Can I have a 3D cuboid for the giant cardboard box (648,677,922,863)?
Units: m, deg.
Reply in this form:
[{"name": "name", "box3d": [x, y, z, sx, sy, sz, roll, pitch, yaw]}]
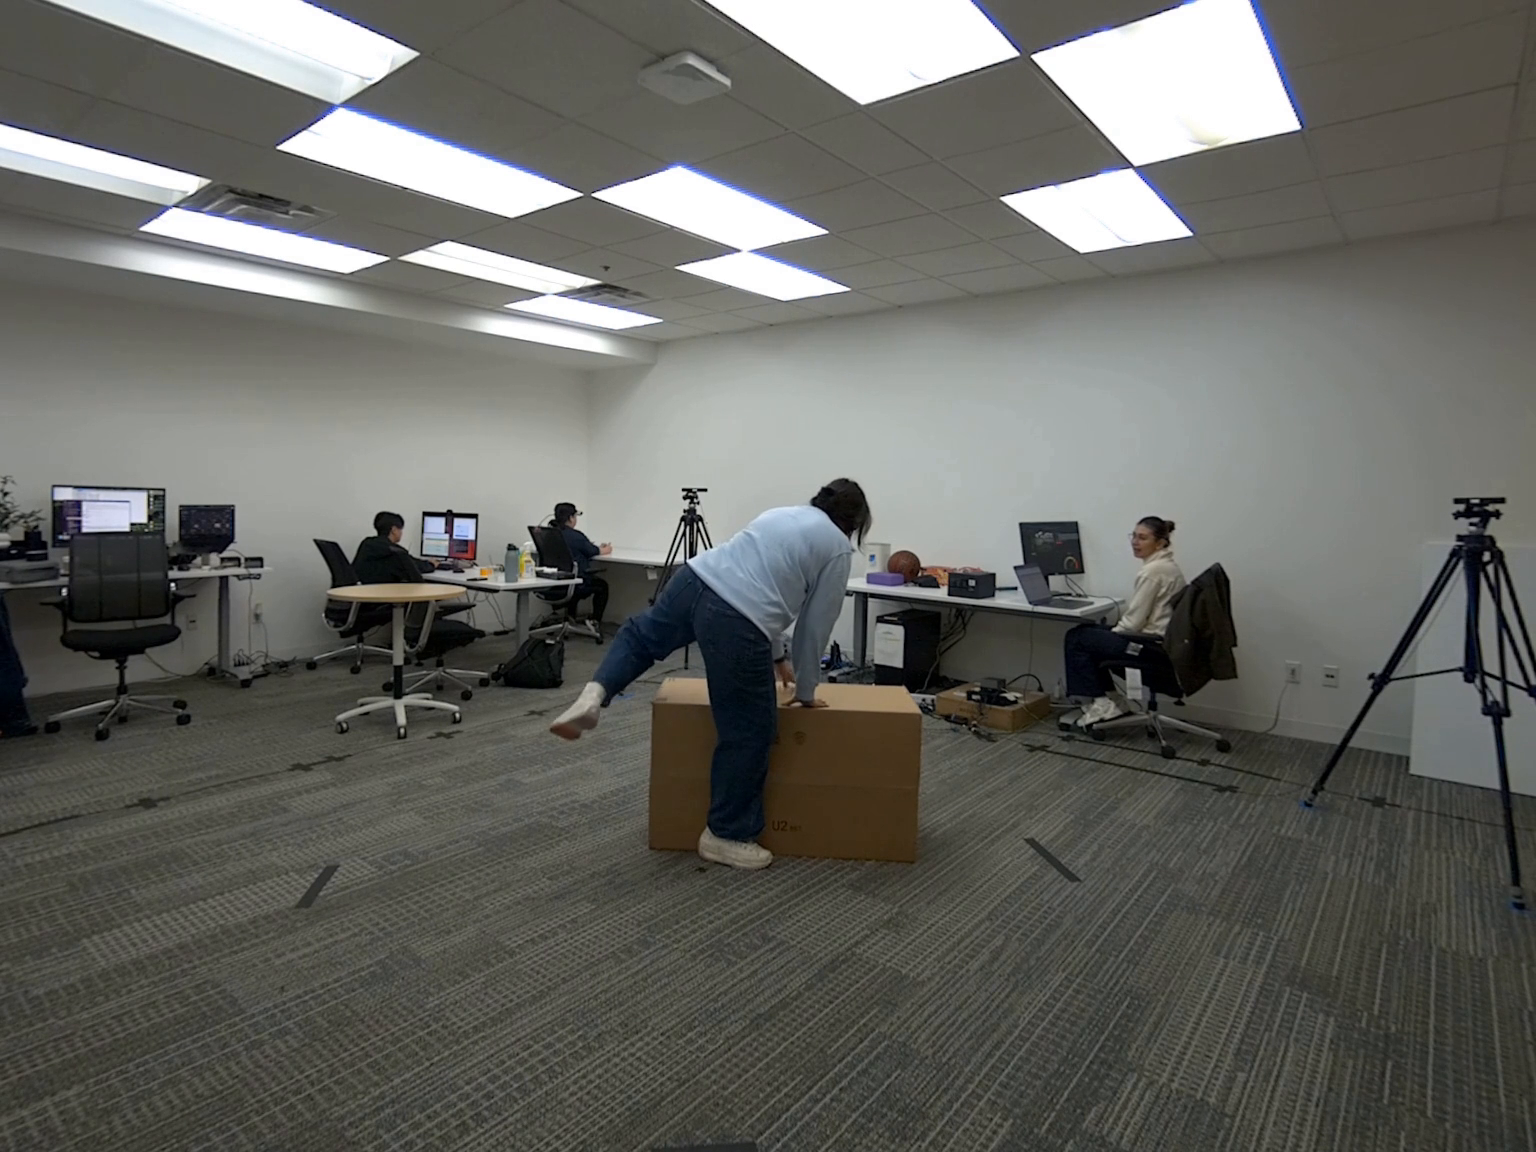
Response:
[{"name": "giant cardboard box", "box3d": [0.053, 0.752, 3.439, 1.029, 0.576, 0.426, 1, 4, 3]}]
